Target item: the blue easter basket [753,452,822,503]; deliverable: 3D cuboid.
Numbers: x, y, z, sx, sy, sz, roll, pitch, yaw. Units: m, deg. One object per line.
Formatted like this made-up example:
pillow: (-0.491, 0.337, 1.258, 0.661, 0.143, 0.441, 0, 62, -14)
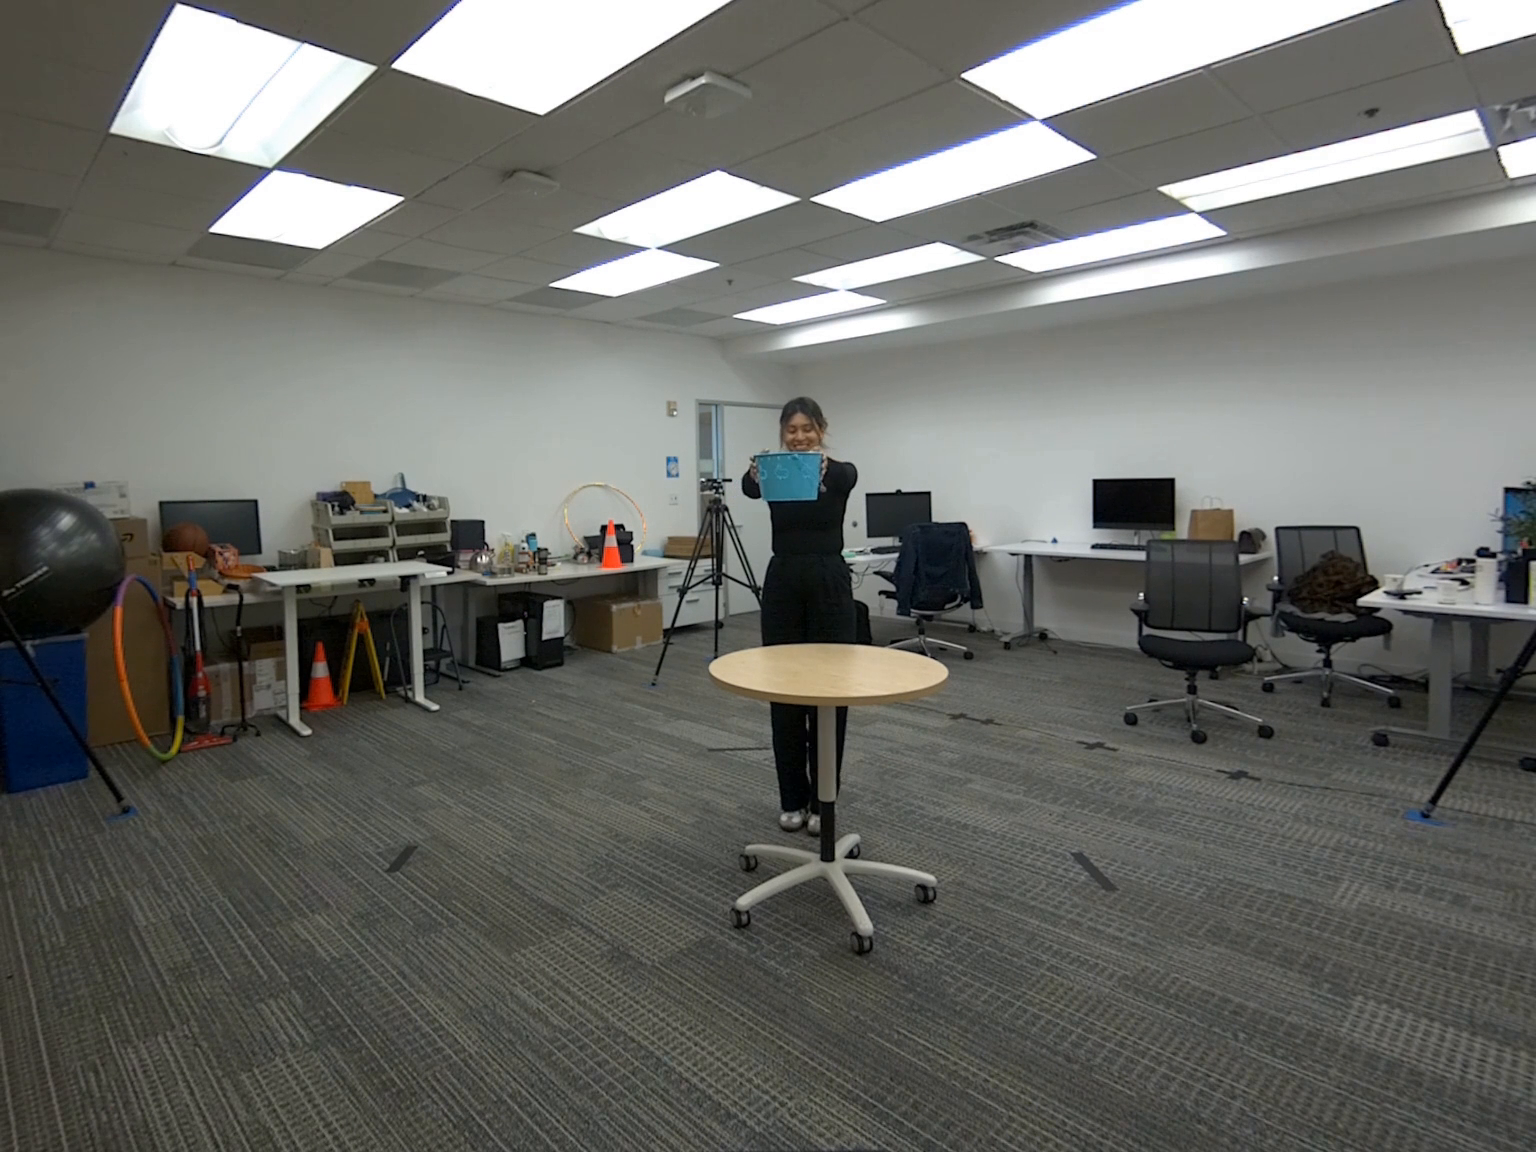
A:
blue easter basket: (0.079, -0.328, 2.824, 0.243, 0.155, 0.245, 0, 6, -2)
